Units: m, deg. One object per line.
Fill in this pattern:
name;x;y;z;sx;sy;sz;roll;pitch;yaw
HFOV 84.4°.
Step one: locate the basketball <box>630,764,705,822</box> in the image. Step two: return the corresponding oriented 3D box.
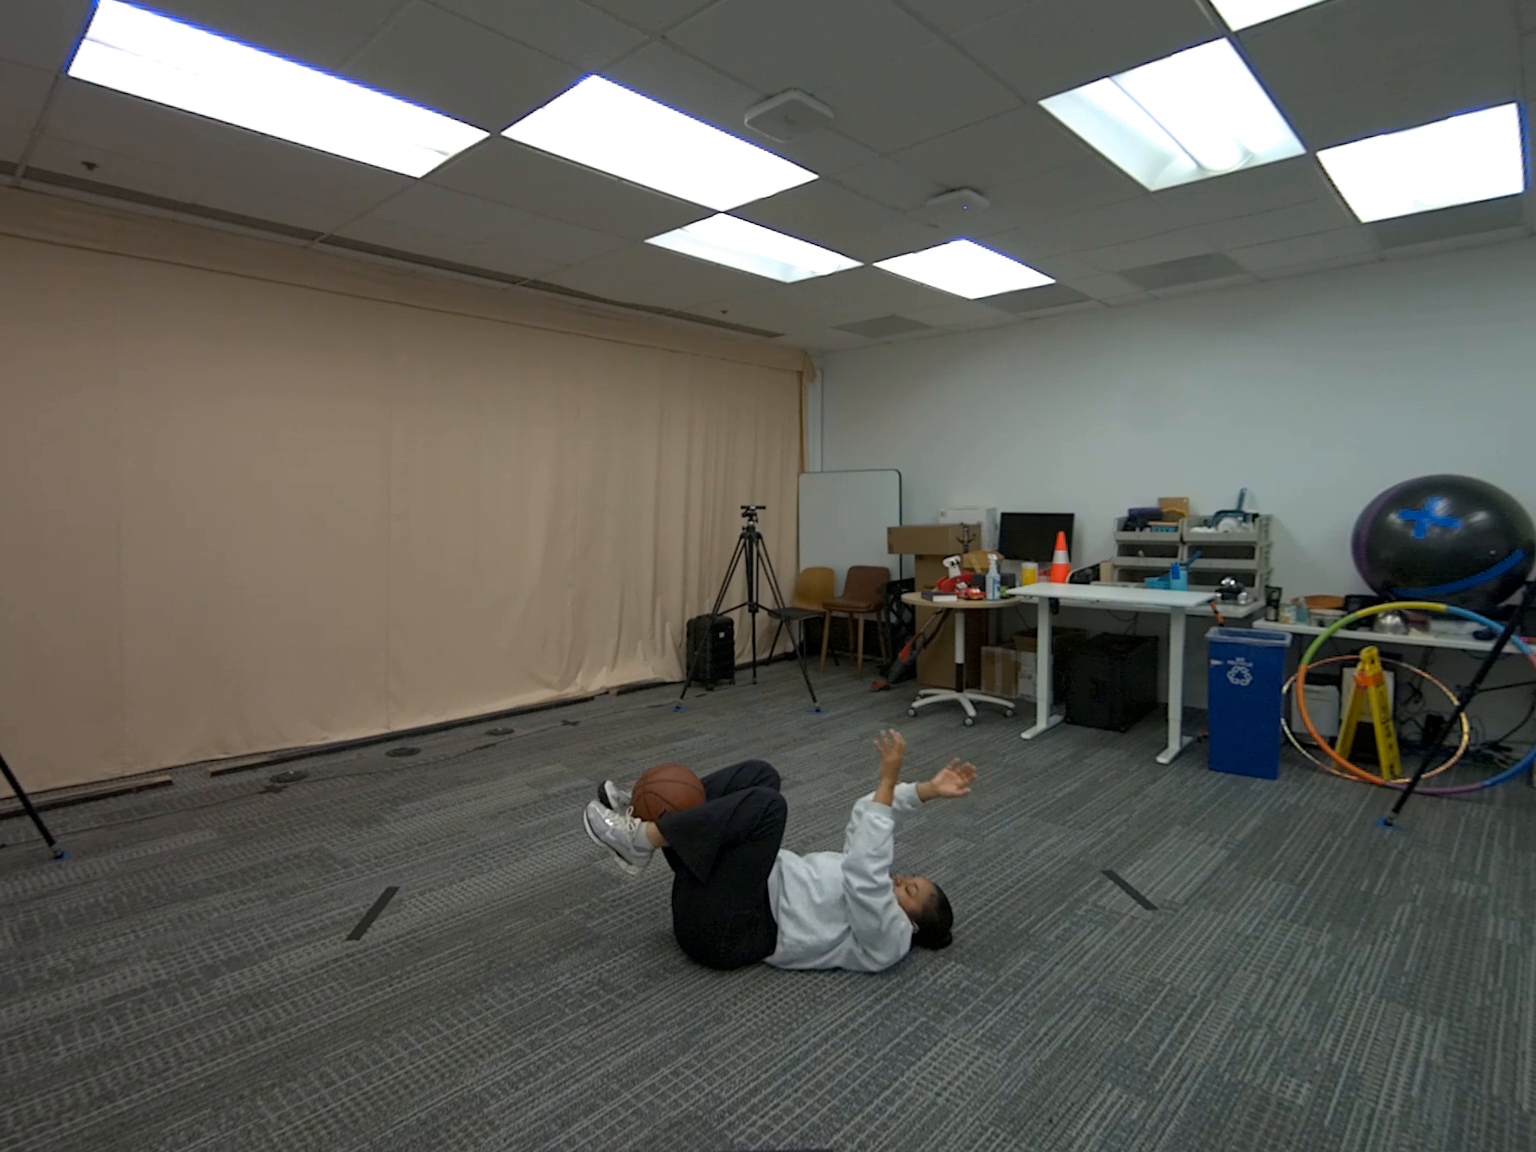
basketball;-0.318;0.709;2.655;0.236;0.235;0.237;0;4;-2
